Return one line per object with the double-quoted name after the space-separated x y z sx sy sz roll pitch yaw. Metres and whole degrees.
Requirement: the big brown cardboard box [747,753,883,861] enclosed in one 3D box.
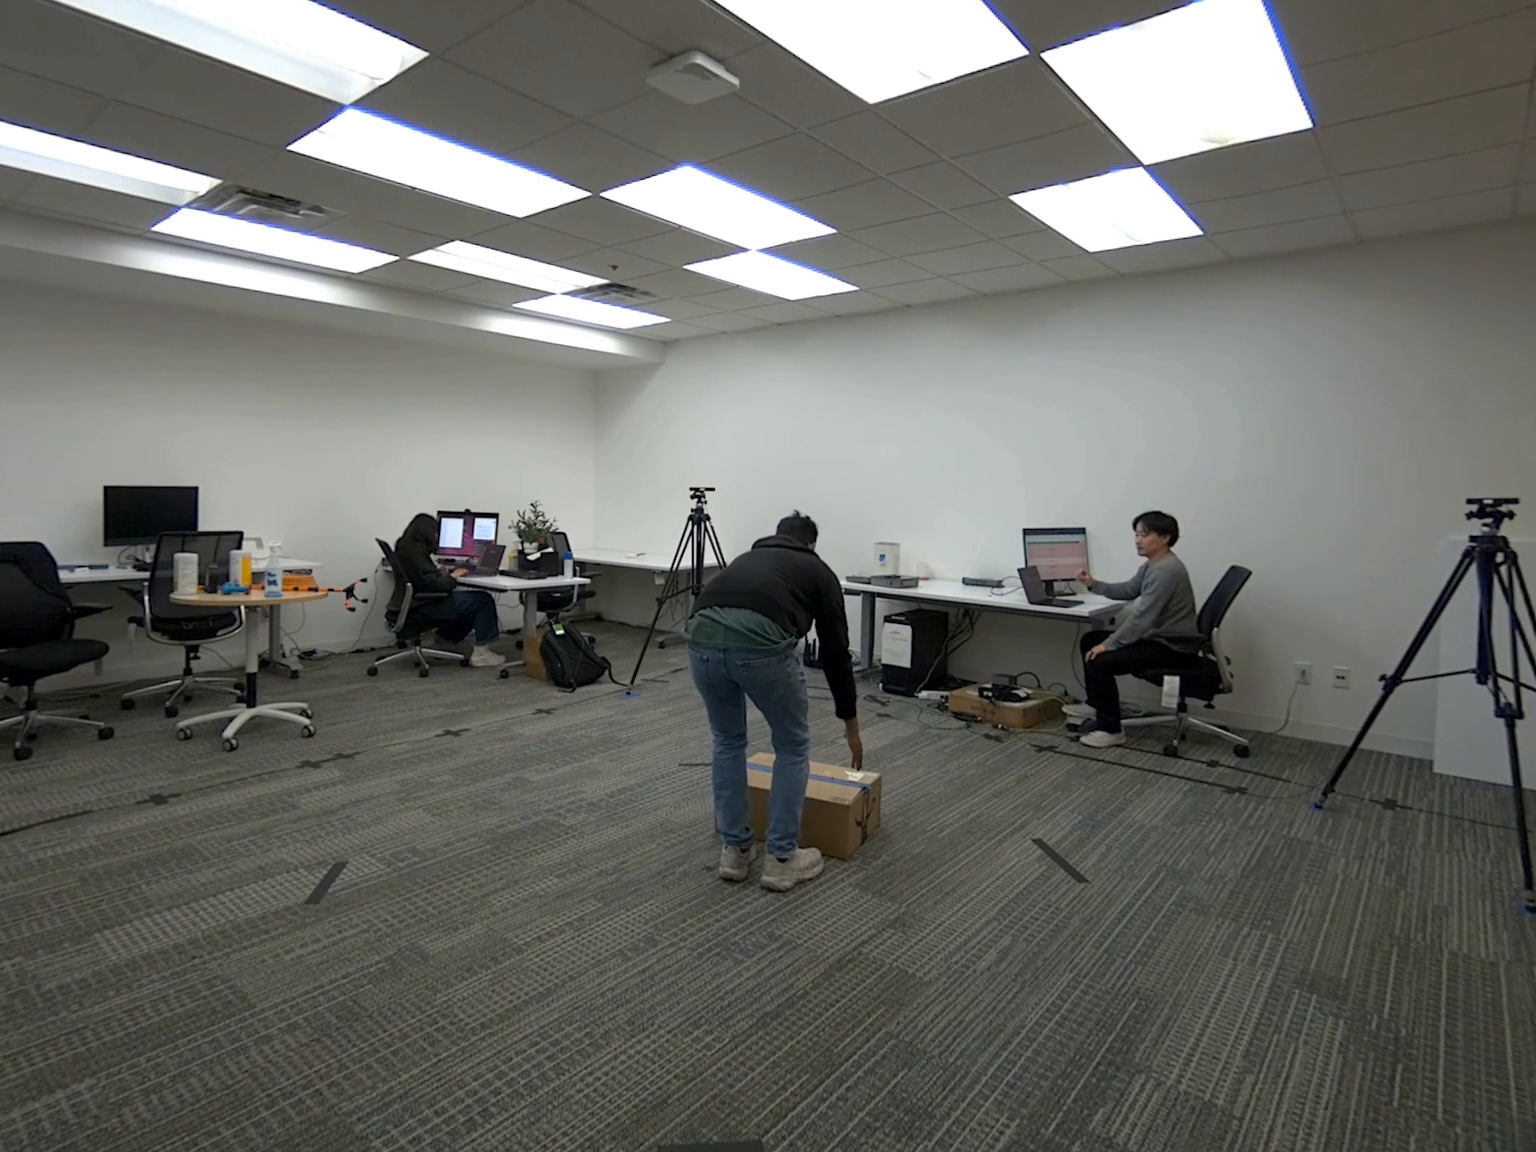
0.127 0.923 3.492 0.604 0.232 0.408 3 5 25 "big brown cardboard box"
